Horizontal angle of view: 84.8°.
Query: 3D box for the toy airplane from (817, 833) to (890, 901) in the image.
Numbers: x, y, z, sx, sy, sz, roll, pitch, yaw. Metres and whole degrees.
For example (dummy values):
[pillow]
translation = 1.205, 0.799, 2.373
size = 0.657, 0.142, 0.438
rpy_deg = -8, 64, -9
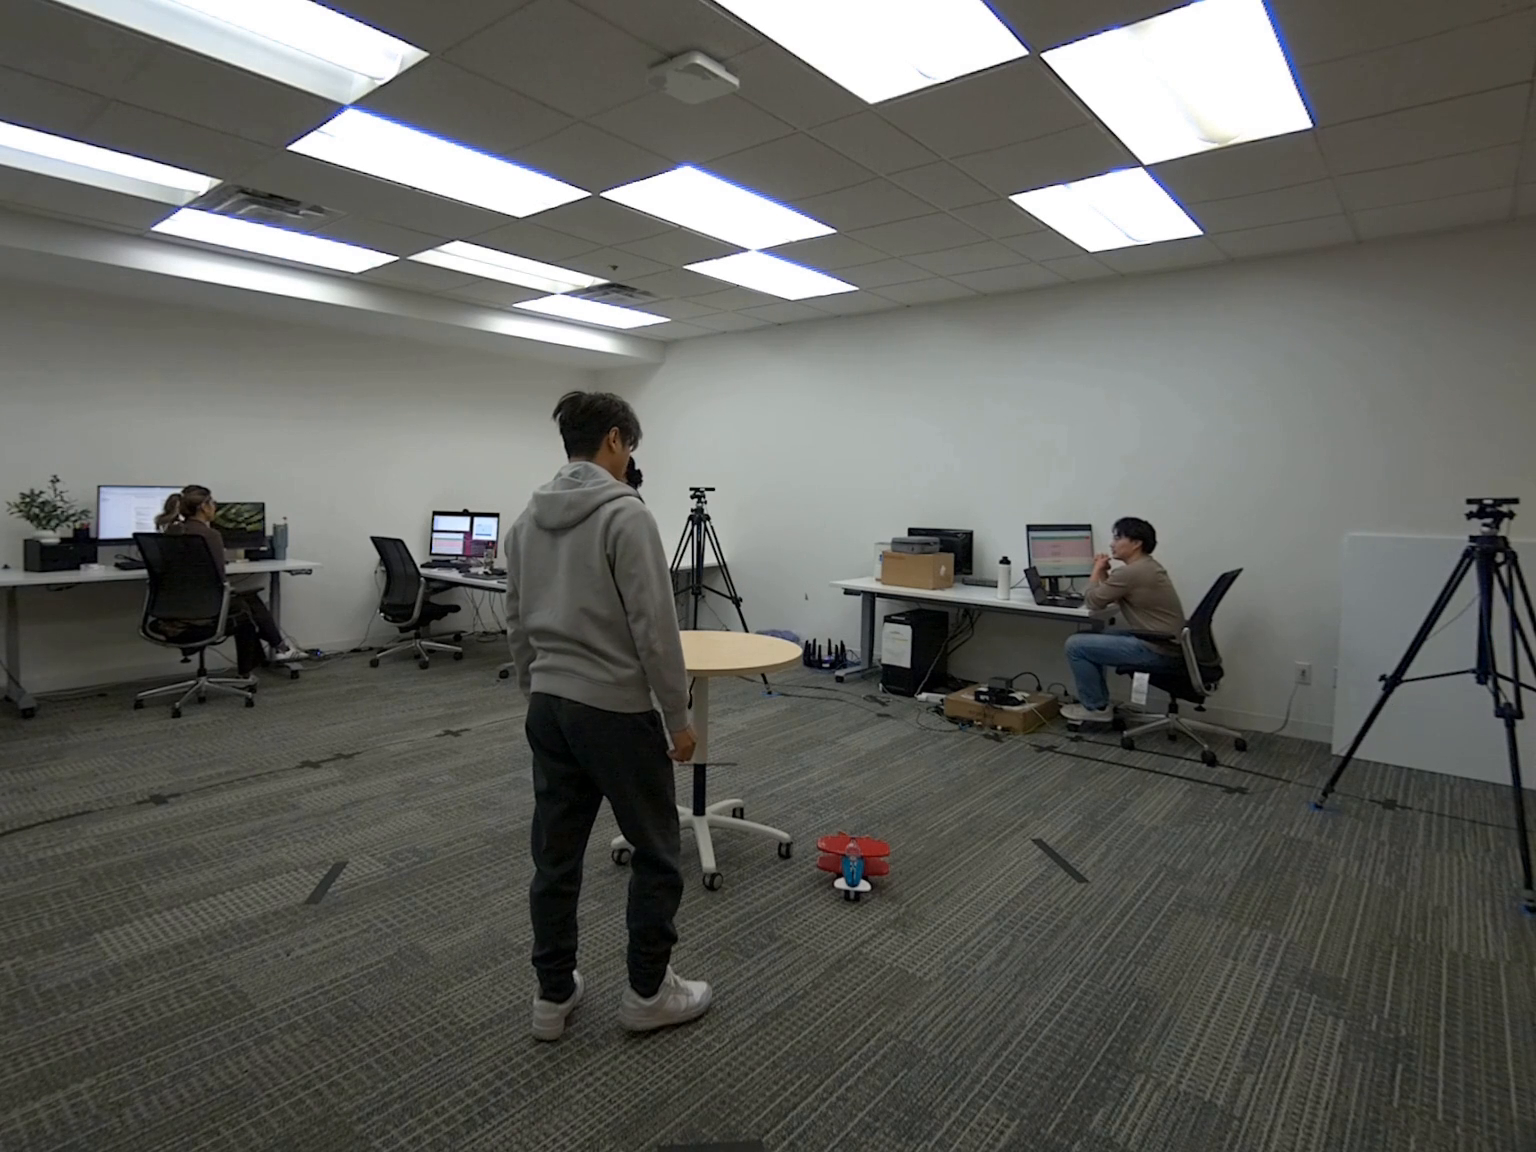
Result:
[toy airplane]
translation = 0.305, 1.016, 2.981
size = 0.246, 0.156, 0.265
rpy_deg = 0, 5, -21
